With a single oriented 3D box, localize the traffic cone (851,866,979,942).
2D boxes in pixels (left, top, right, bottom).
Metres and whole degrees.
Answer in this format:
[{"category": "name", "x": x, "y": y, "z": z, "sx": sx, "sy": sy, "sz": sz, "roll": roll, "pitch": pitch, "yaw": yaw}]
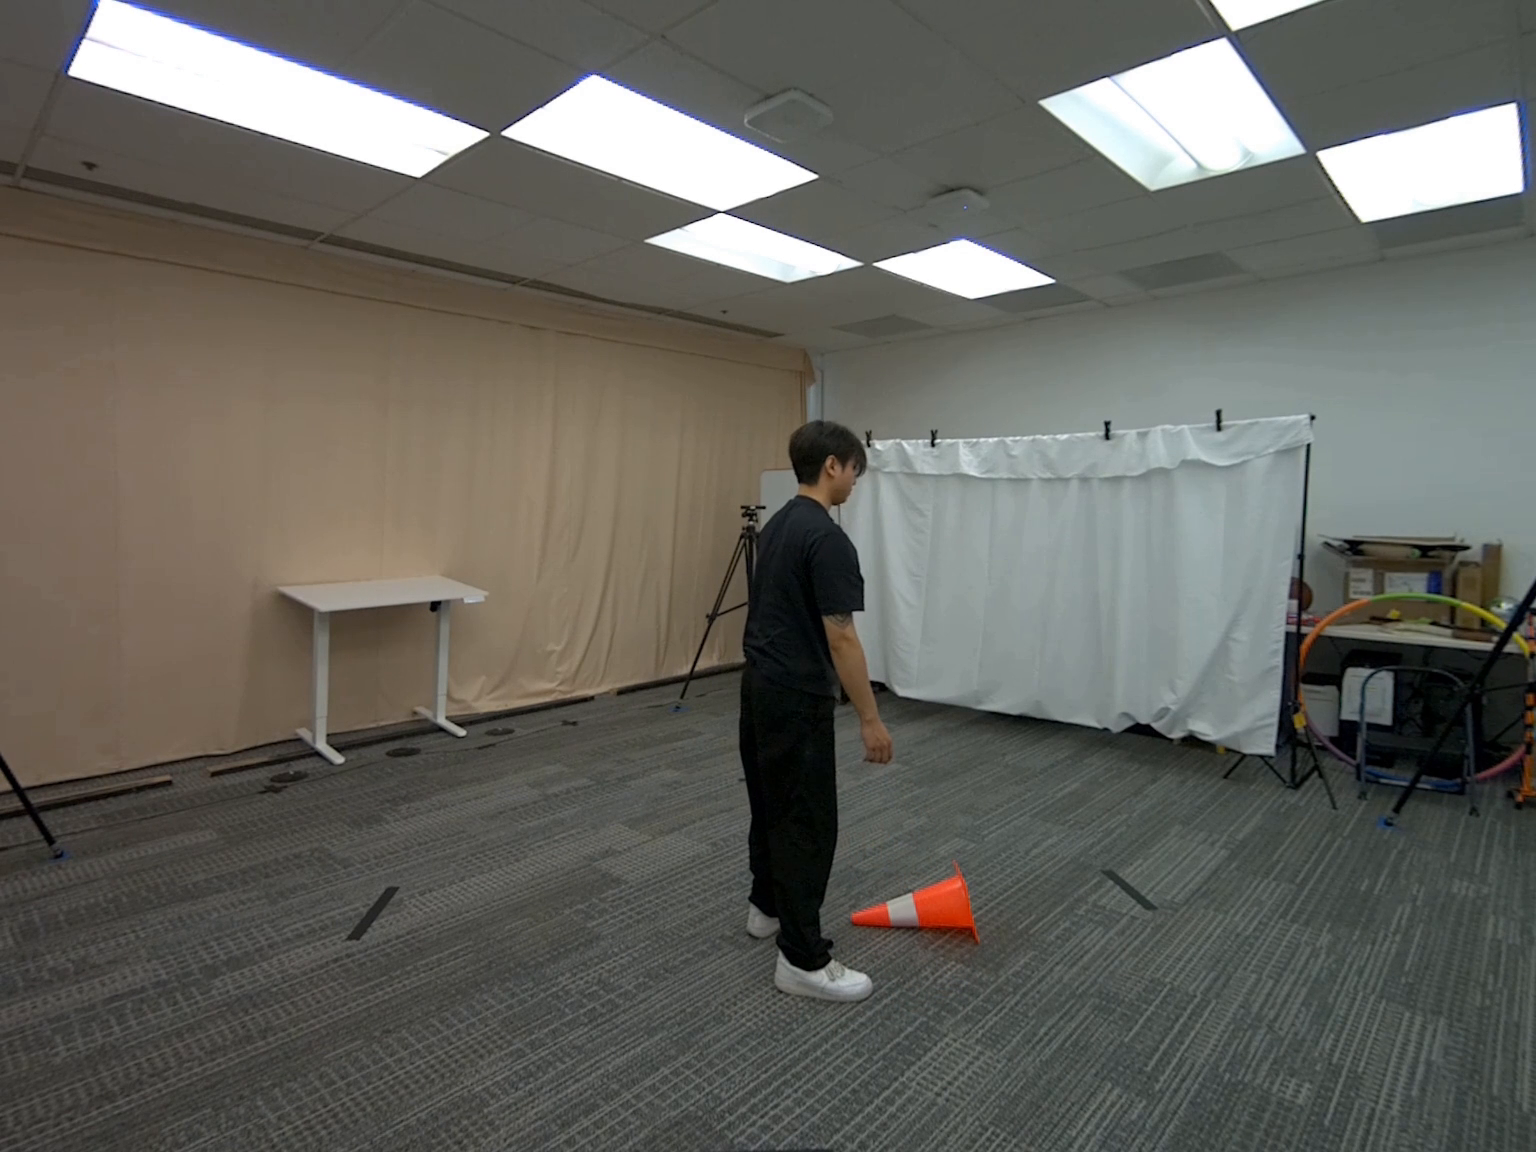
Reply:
[{"category": "traffic cone", "x": 0.472, "y": 1.119, "z": 2.771, "sx": 0.385, "sy": 0.203, "sz": 0.205, "roll": -15, "pitch": 4, "yaw": 5}]
